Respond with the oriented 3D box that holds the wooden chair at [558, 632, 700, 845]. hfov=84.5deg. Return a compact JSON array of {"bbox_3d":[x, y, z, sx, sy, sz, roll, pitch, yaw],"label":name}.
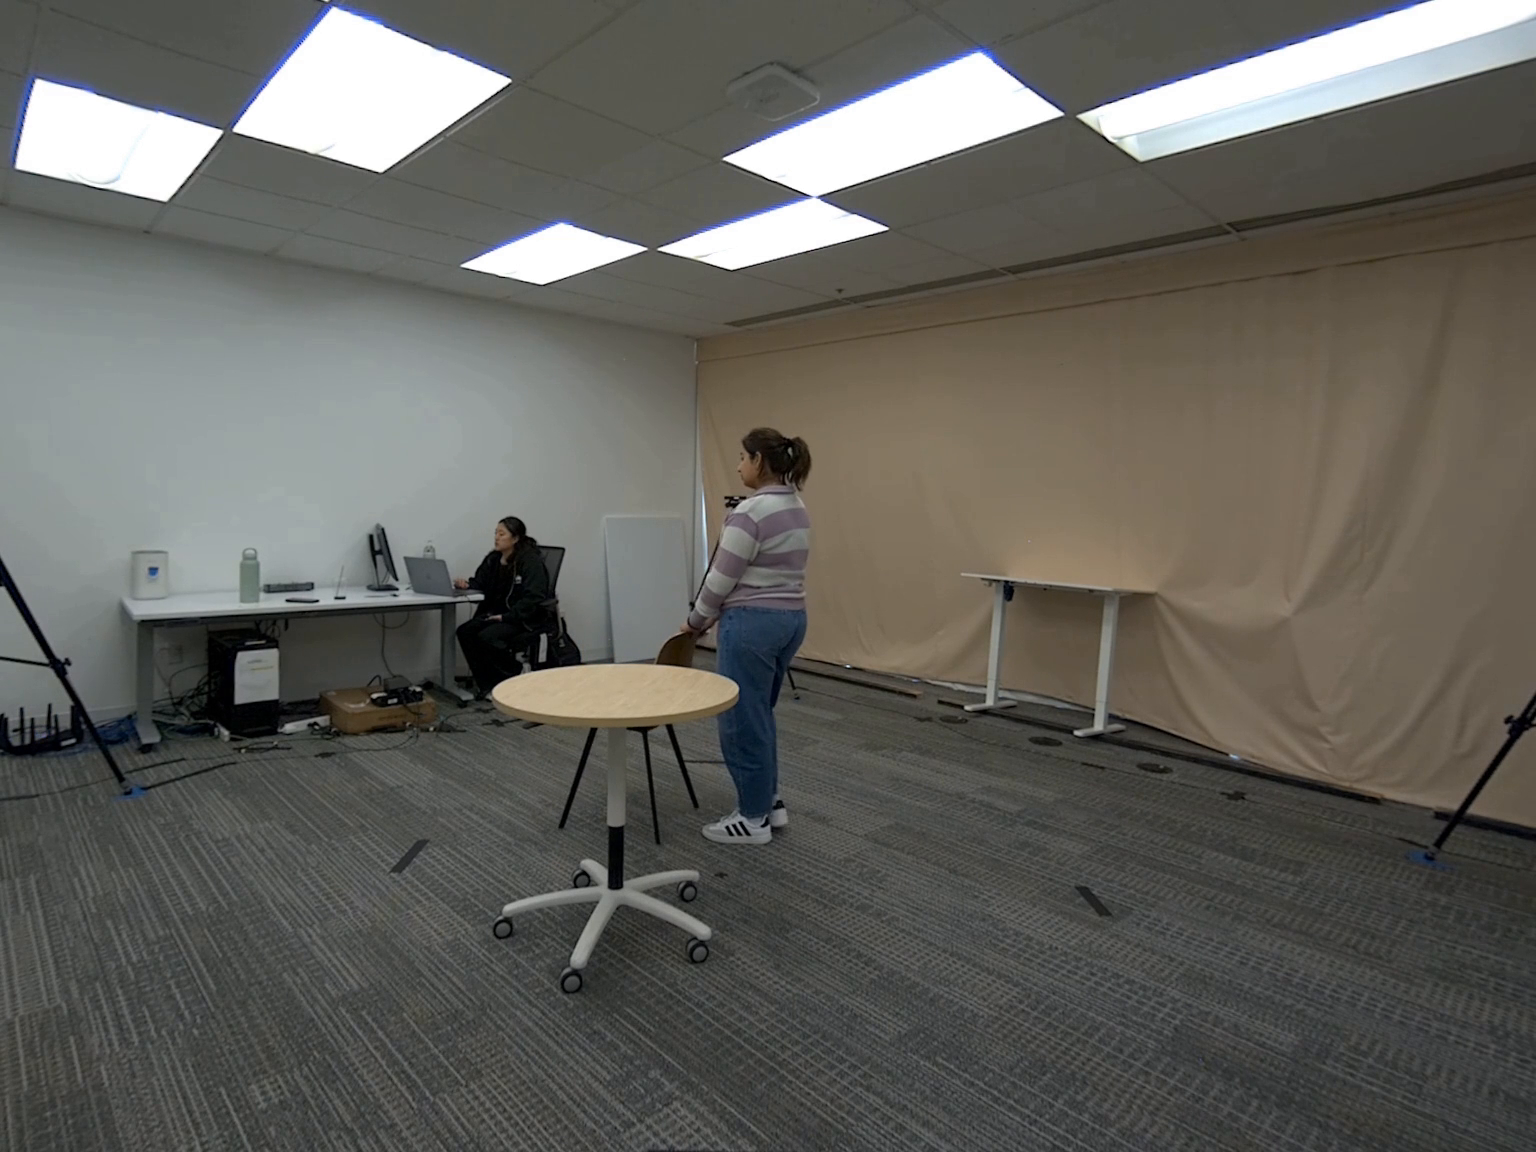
[{"bbox_3d":[-0.588,0.619,3.602,0.531,0.874,0.472,7,6,17],"label":"wooden chair"}]
